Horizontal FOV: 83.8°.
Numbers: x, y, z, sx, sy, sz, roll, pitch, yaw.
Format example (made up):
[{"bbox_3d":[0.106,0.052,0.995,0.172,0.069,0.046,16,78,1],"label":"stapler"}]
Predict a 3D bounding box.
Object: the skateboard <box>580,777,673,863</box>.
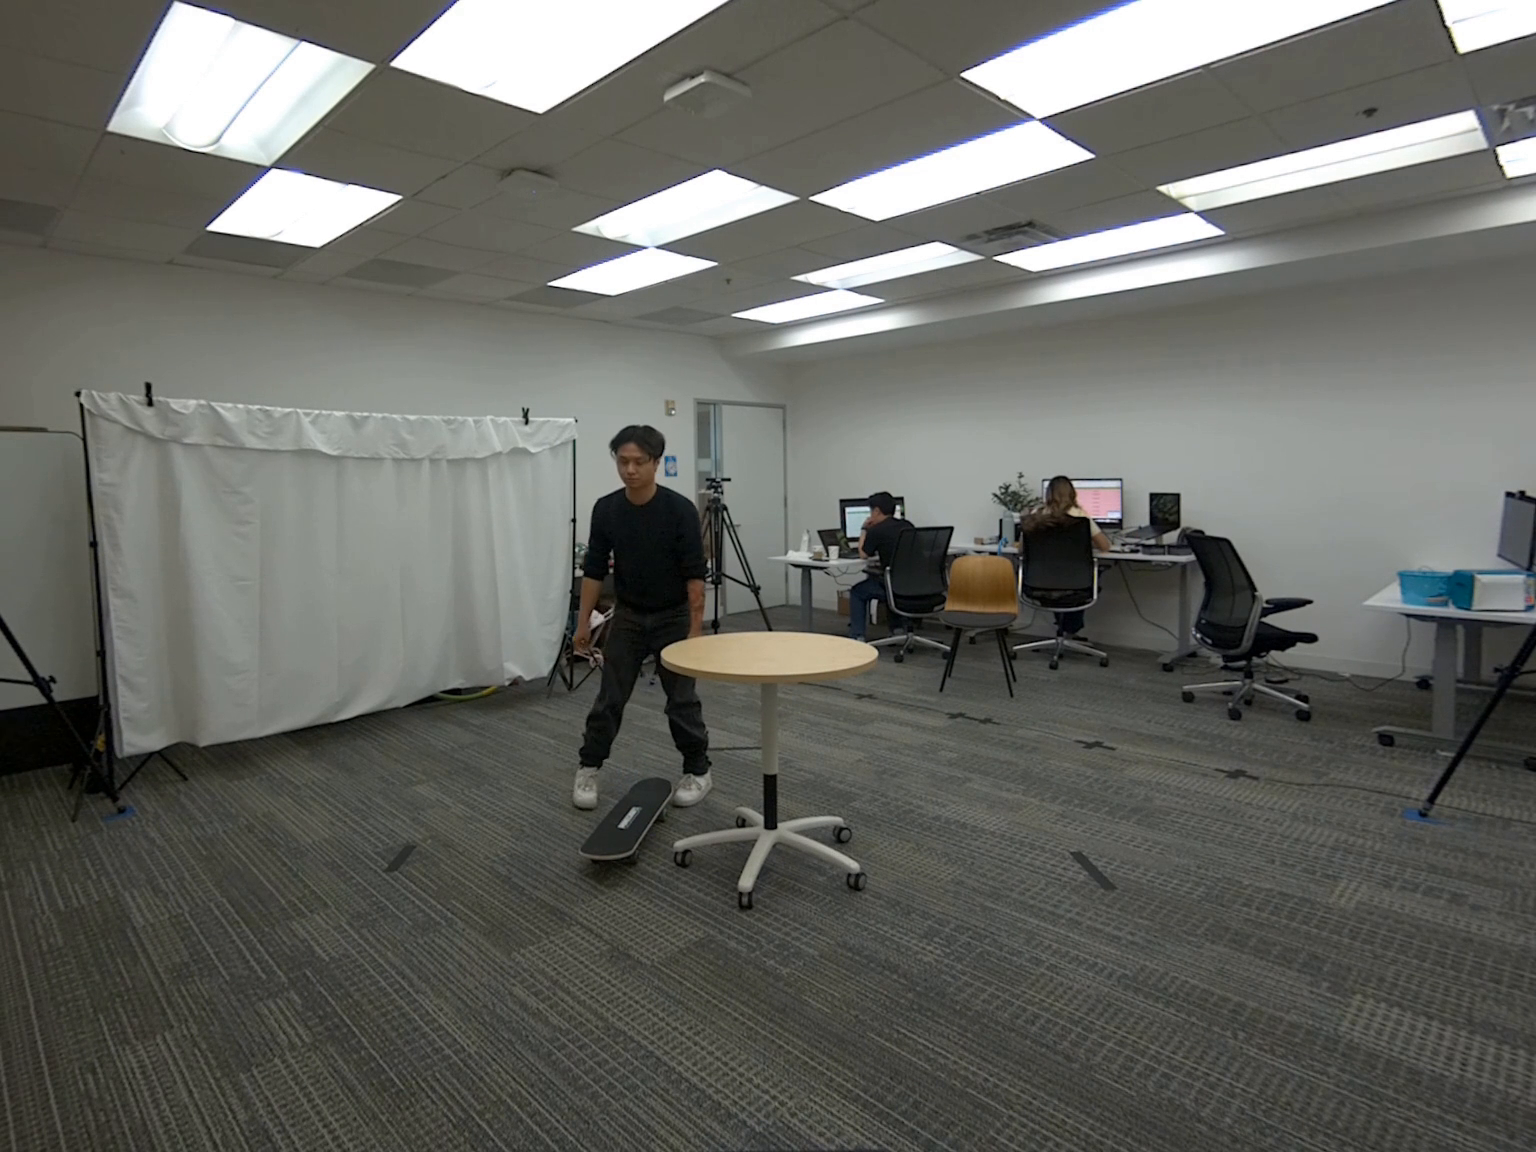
[{"bbox_3d":[-0.532,0.968,3.320,0.195,0.110,0.781,0,6,8],"label":"skateboard"}]
